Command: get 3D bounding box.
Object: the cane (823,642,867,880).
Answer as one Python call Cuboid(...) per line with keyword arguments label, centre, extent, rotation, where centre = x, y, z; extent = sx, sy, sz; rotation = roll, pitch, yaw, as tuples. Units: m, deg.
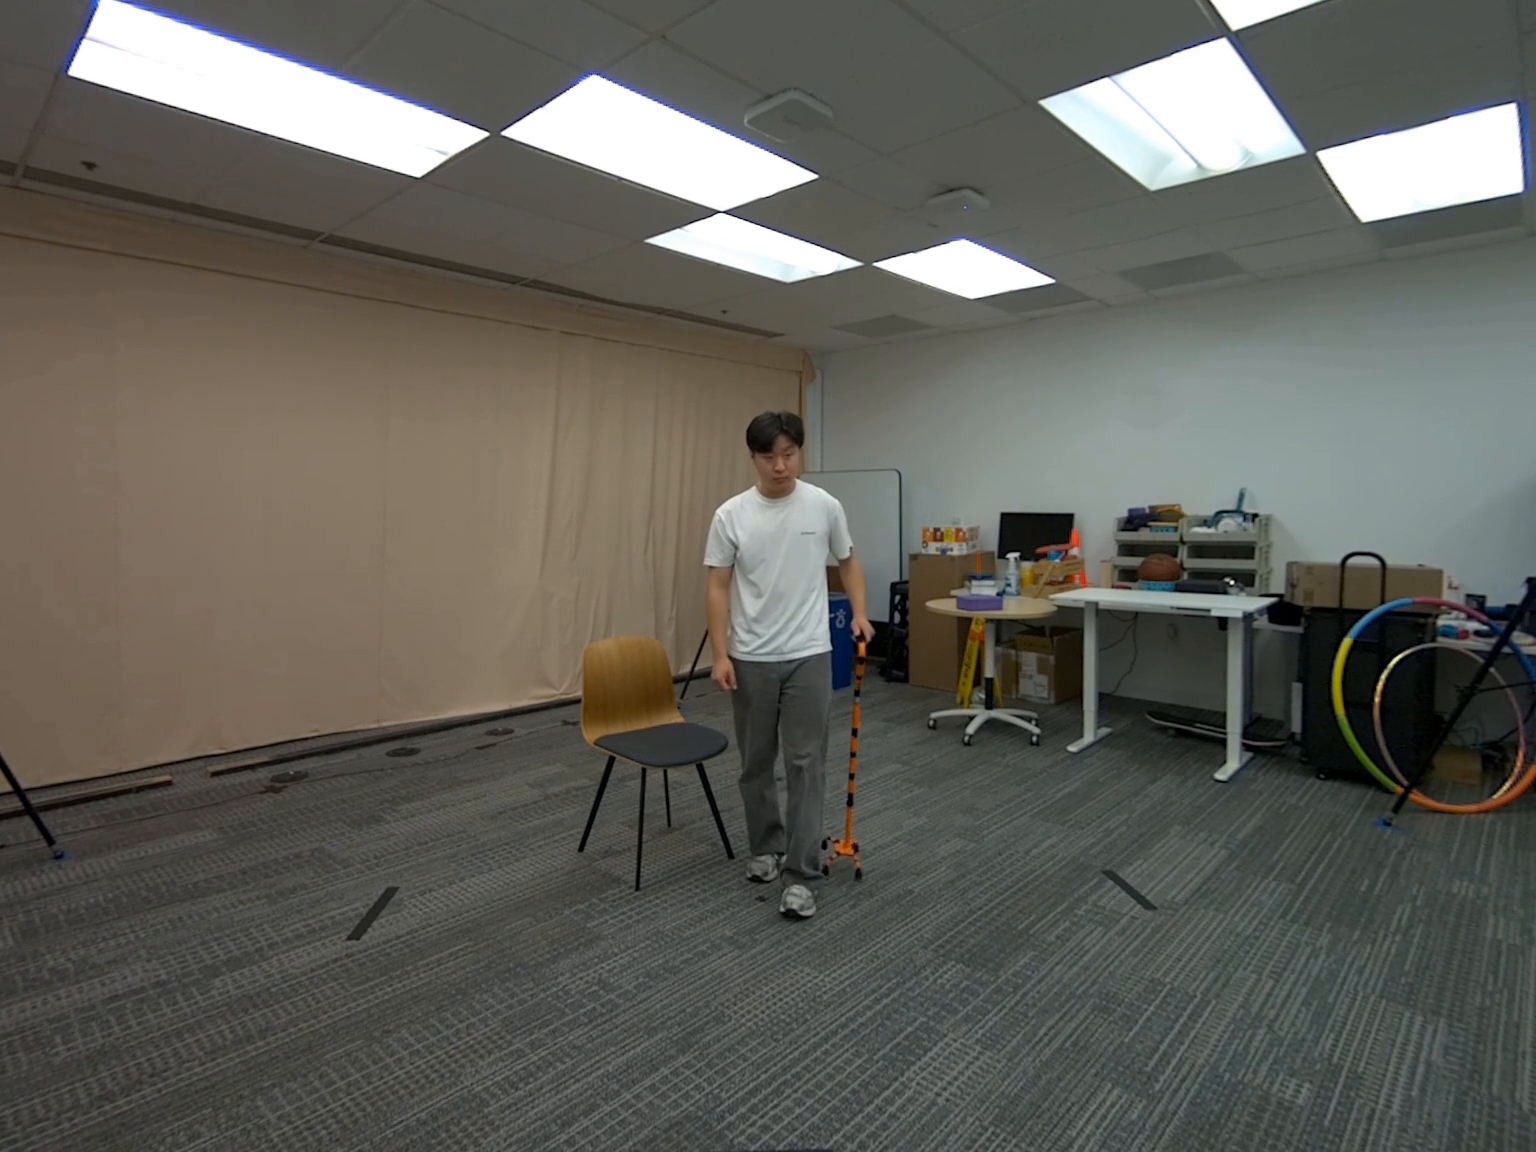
Cuboid(label="cane", centre=(0.316, 0.655, 3.108), extent=(0.152, 0.902, 0.207), rotation=(4, 10, 2))
